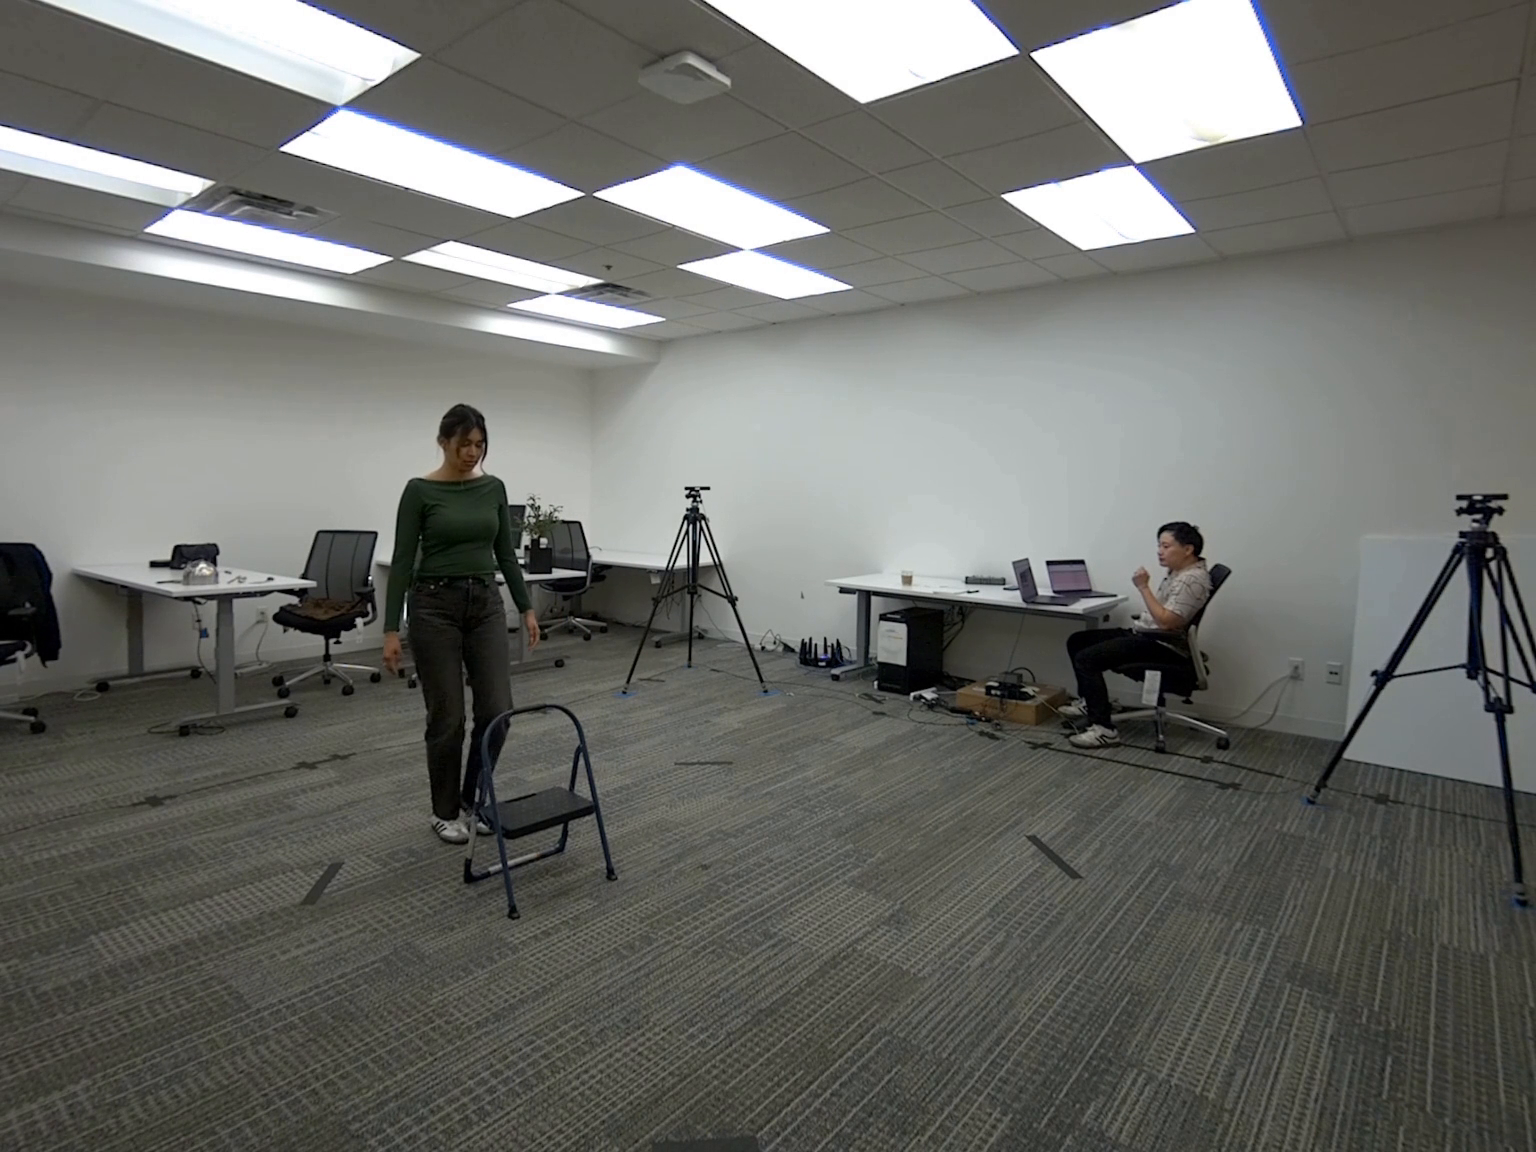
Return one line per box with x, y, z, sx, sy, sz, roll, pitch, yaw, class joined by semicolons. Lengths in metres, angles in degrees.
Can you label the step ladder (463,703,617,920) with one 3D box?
-0.808;0.767;2.974;0.361;0.604;0.417;4;4;43;step ladder
